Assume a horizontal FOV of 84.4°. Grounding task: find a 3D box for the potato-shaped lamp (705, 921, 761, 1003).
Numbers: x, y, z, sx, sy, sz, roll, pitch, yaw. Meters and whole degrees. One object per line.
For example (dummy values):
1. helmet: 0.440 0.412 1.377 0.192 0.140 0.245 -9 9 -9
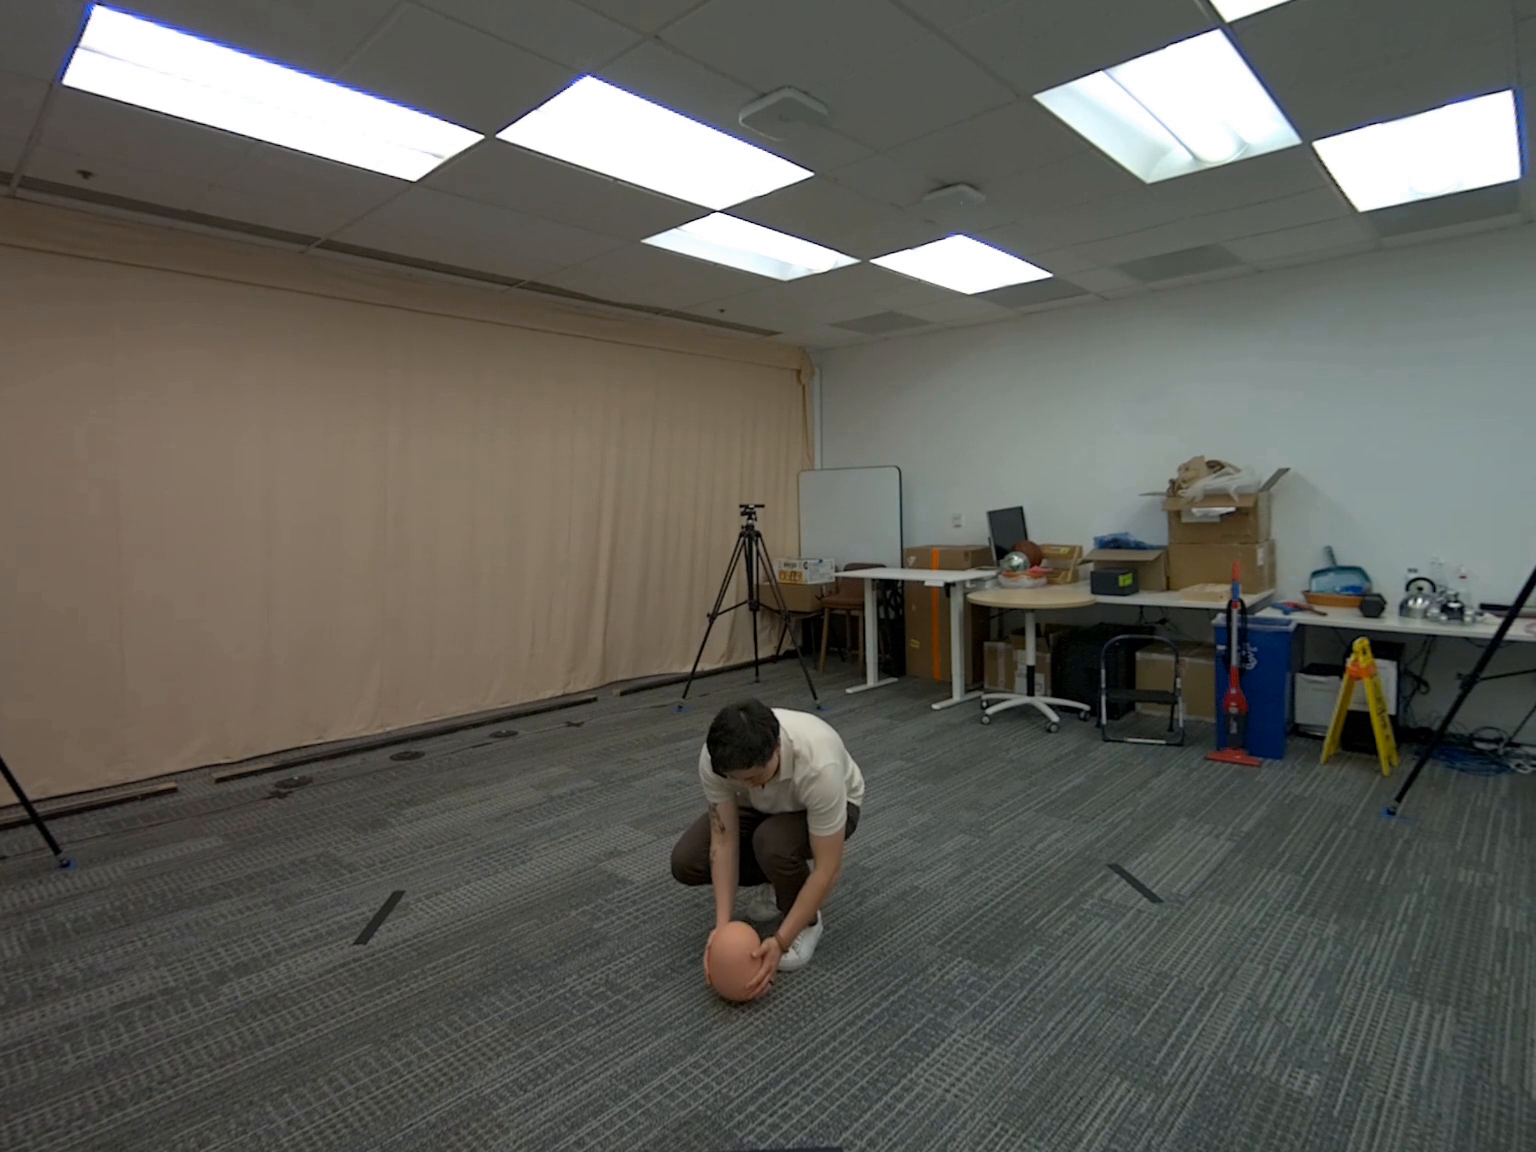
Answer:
1. potato-shaped lamp: -0.076 1.060 2.365 0.170 0.198 0.166 6 3 33
